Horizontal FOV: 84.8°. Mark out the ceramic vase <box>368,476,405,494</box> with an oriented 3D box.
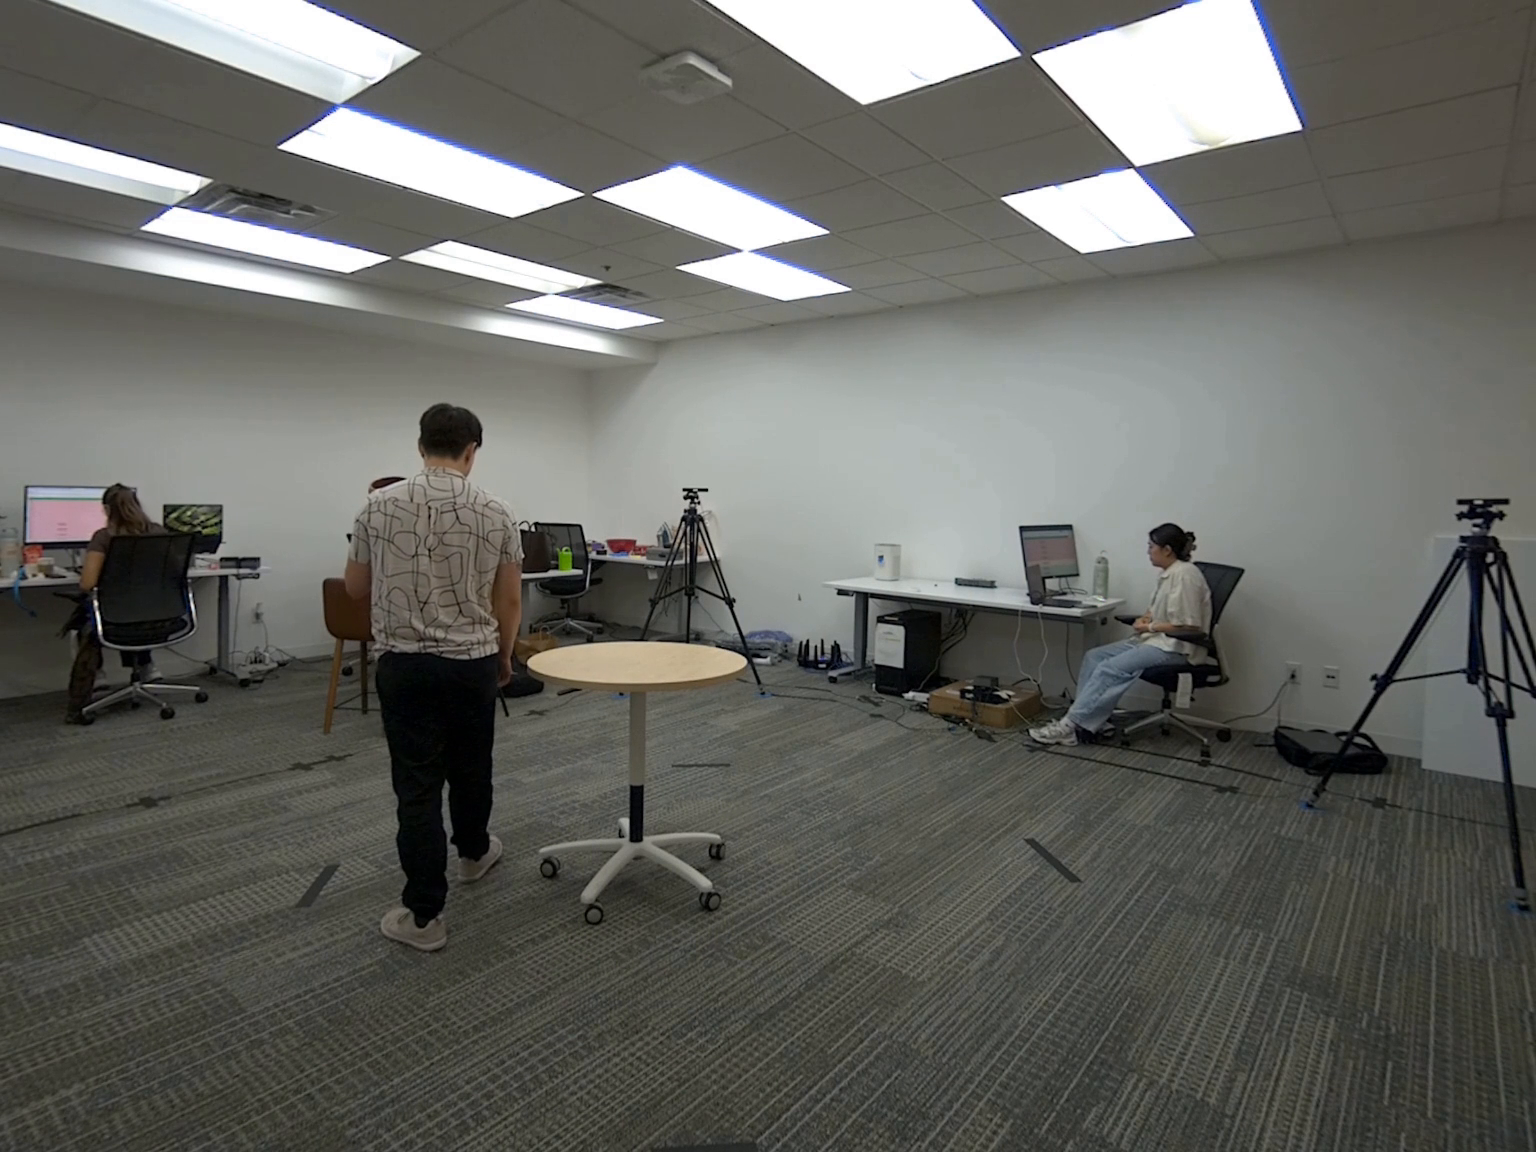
[{"bbox_3d":[-1.310,-0.227,2.933,0.132,0.215,0.165,-12,31,-25],"label":"ceramic vase"}]
